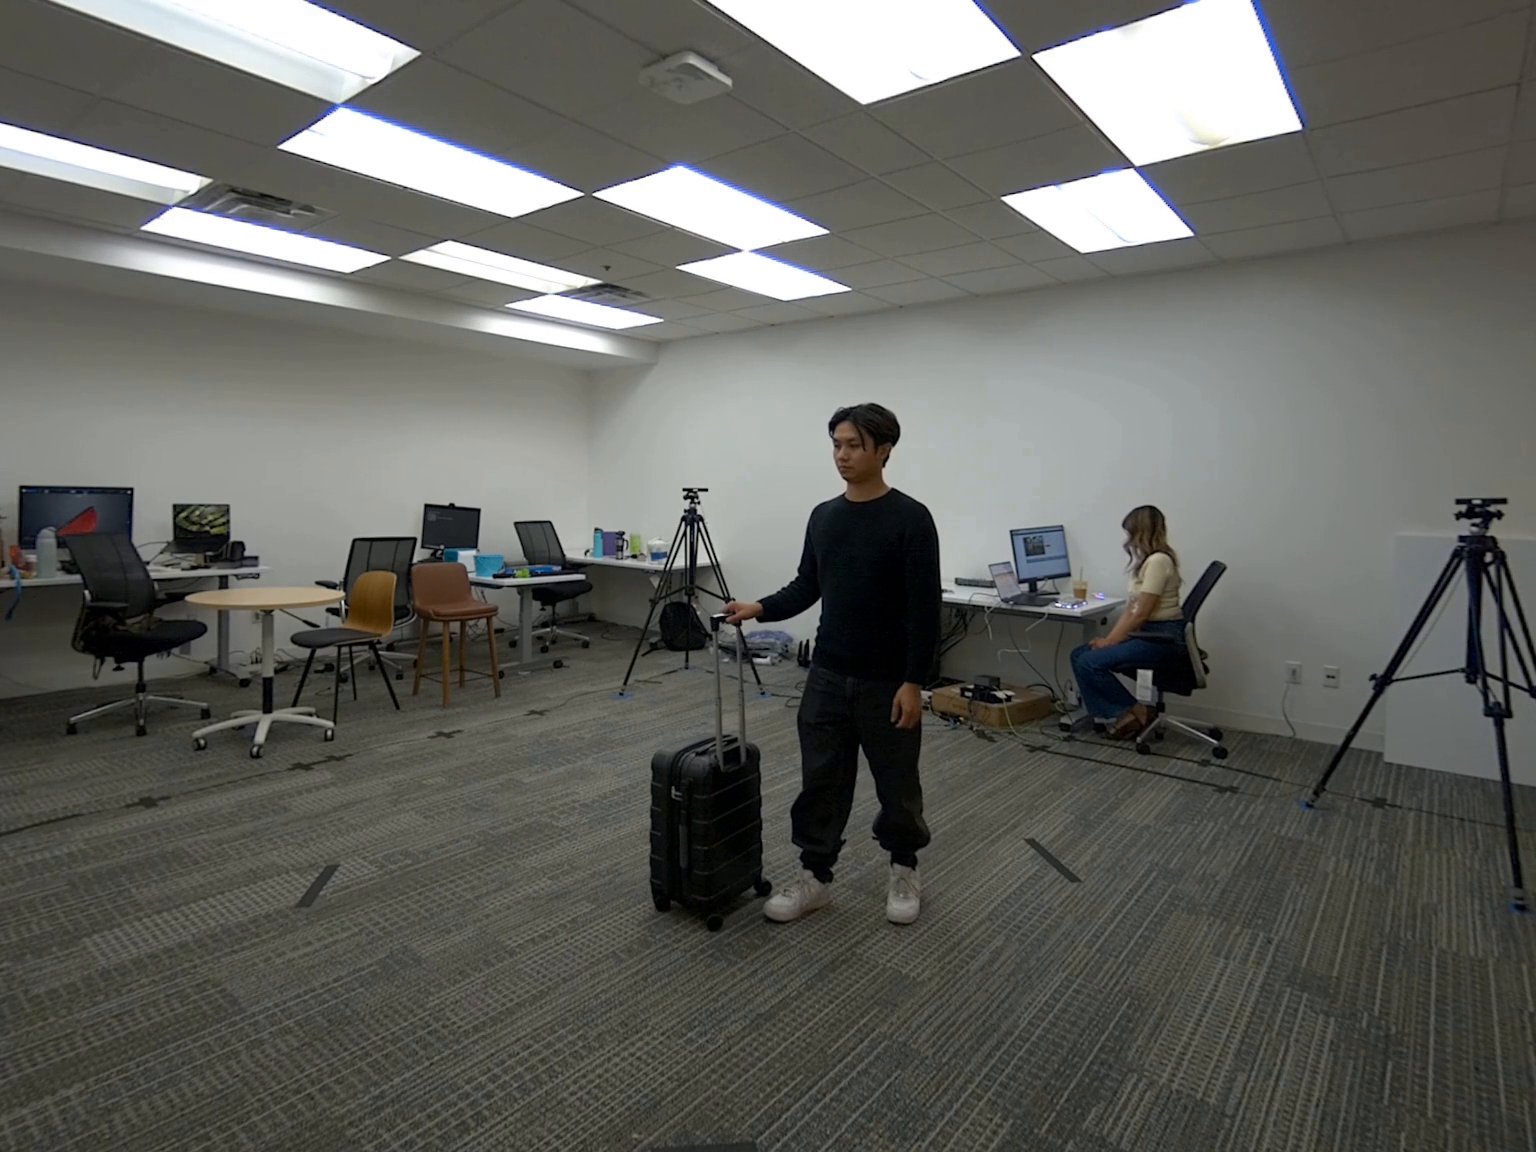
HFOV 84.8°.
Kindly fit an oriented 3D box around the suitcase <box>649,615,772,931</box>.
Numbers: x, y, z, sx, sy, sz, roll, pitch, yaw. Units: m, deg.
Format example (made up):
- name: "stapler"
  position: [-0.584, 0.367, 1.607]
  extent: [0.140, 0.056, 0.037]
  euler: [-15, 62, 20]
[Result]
- name: "suitcase"
  position: [-0.221, 0.618, 2.852]
  extent: [0.265, 0.977, 0.373]
  euler: [0, 2, 37]
